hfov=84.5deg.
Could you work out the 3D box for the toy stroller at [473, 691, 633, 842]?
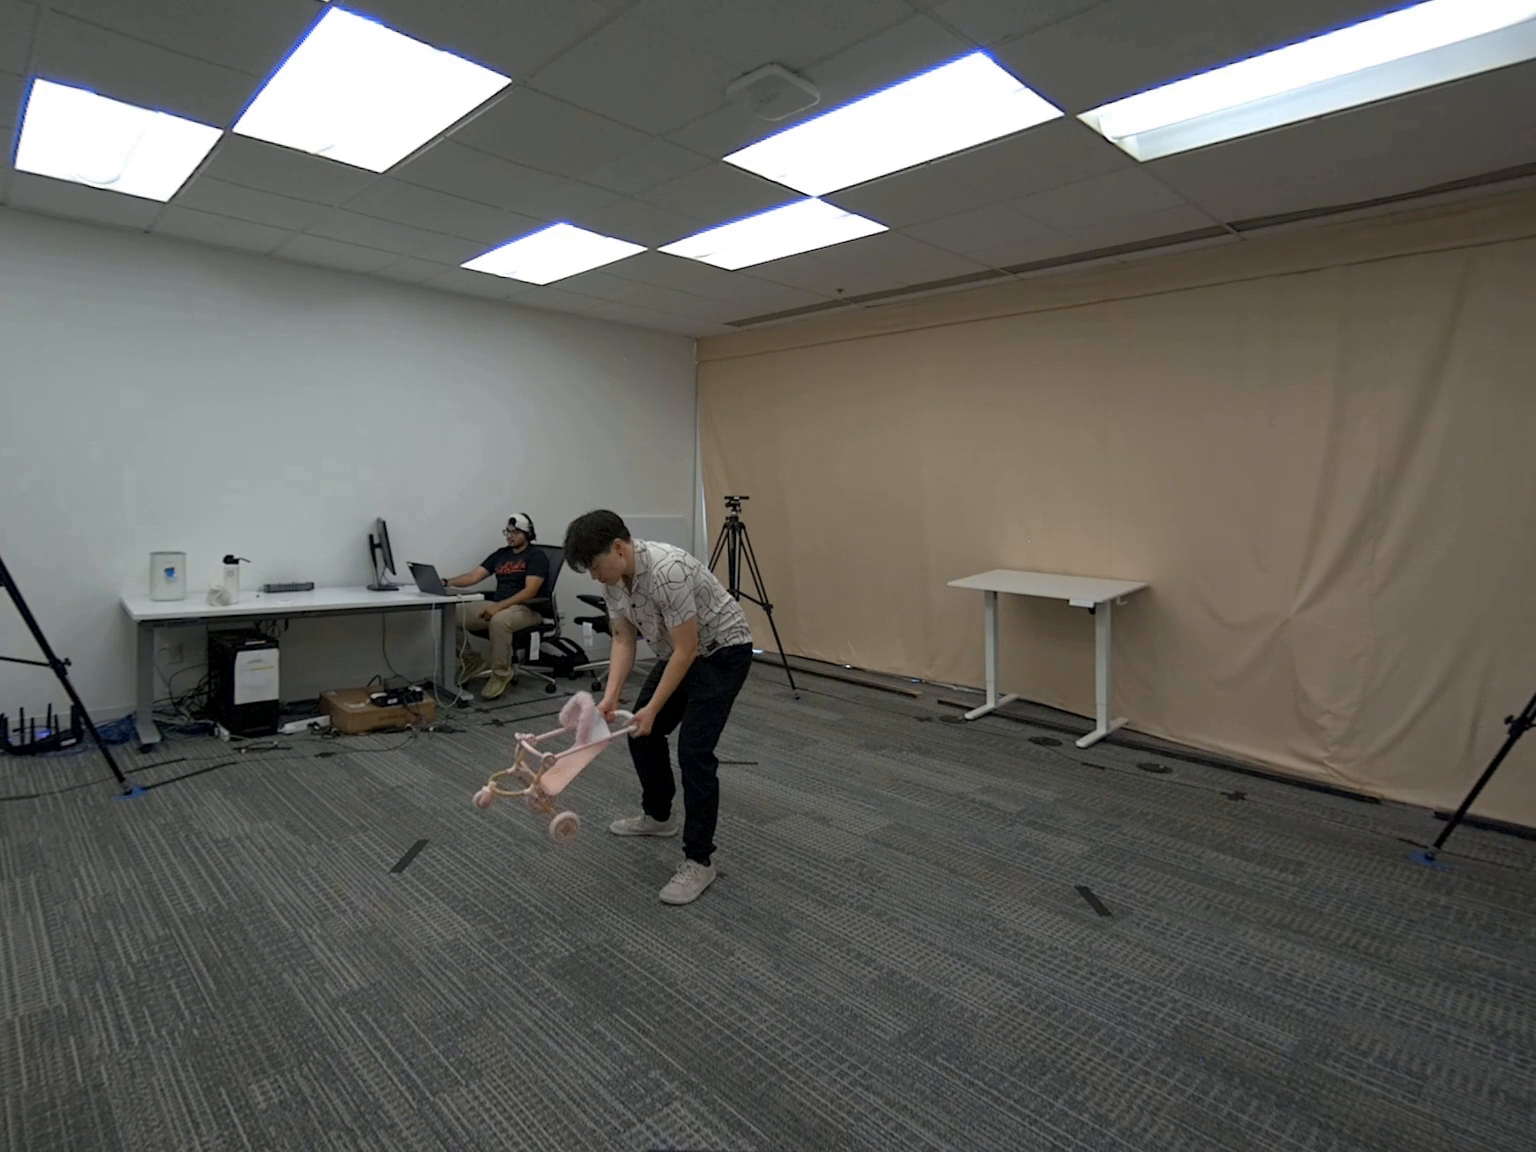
[{"bbox_3d":[-0.729,0.636,2.875,0.333,0.536,0.288,40,-13,-25],"label":"toy stroller"}]
